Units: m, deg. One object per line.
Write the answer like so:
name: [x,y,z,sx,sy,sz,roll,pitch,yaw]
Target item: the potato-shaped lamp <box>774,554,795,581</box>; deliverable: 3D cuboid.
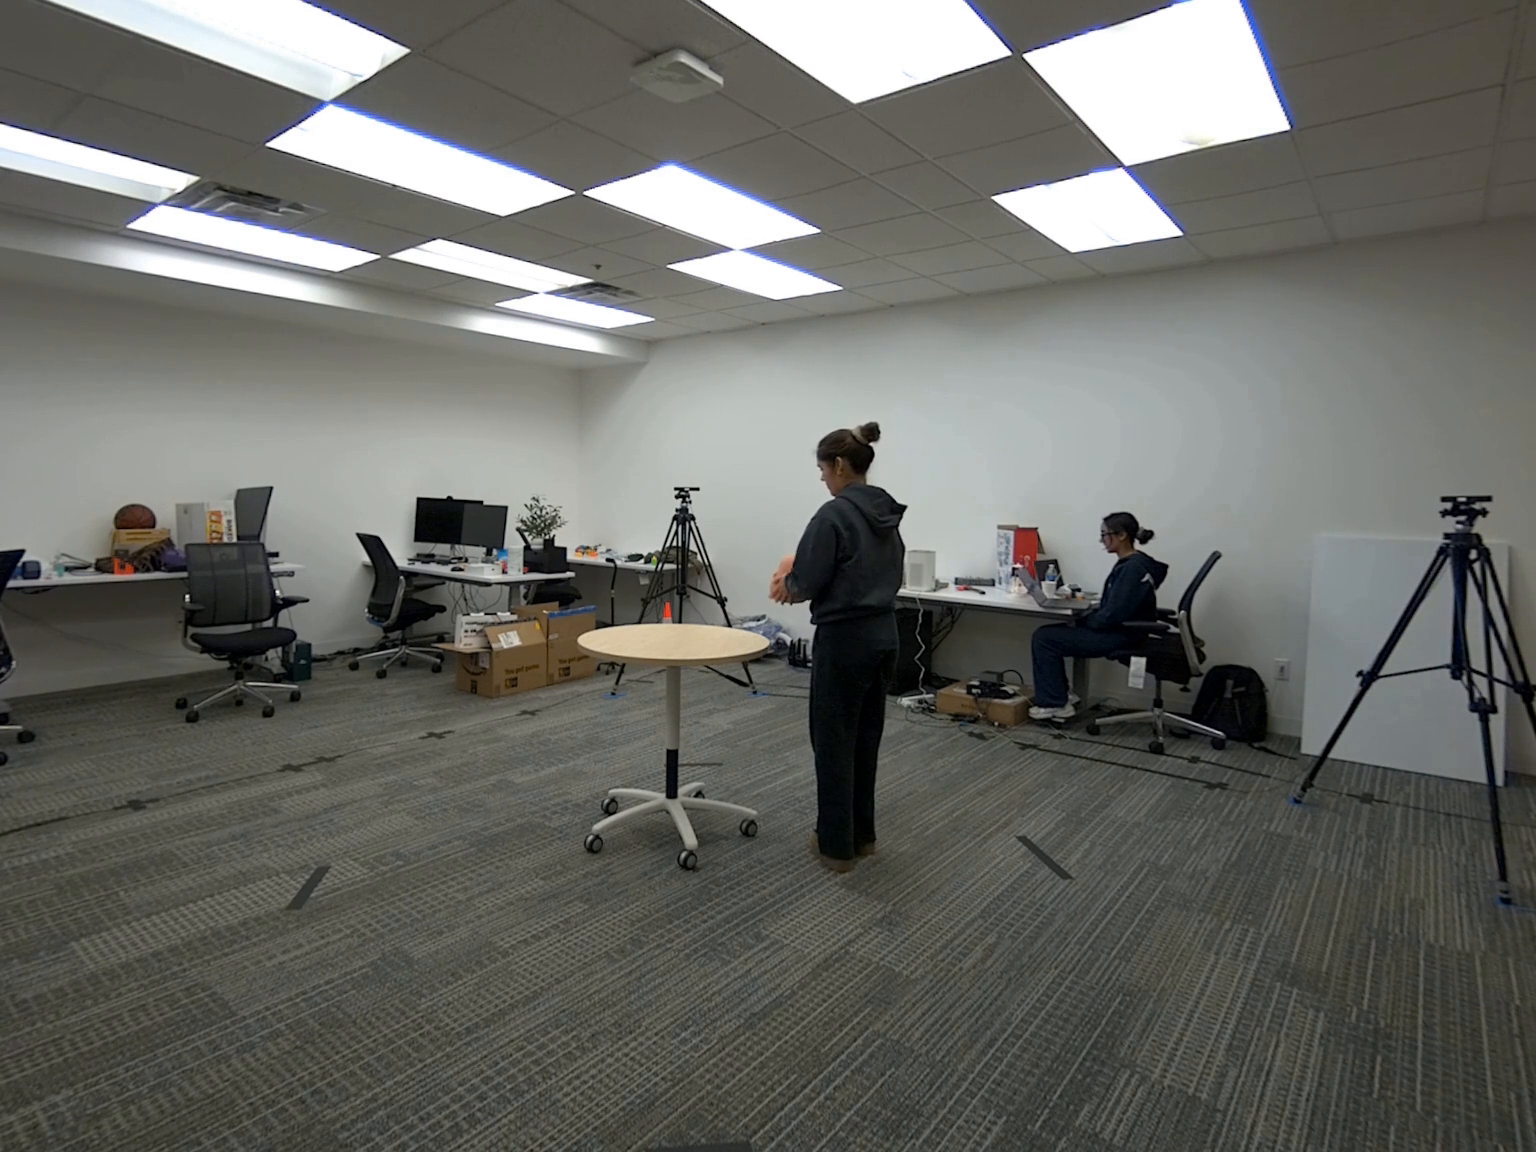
potato-shaped lamp: [0.111,0.003,3.398,0.178,0.197,0.160,11,8,39]
